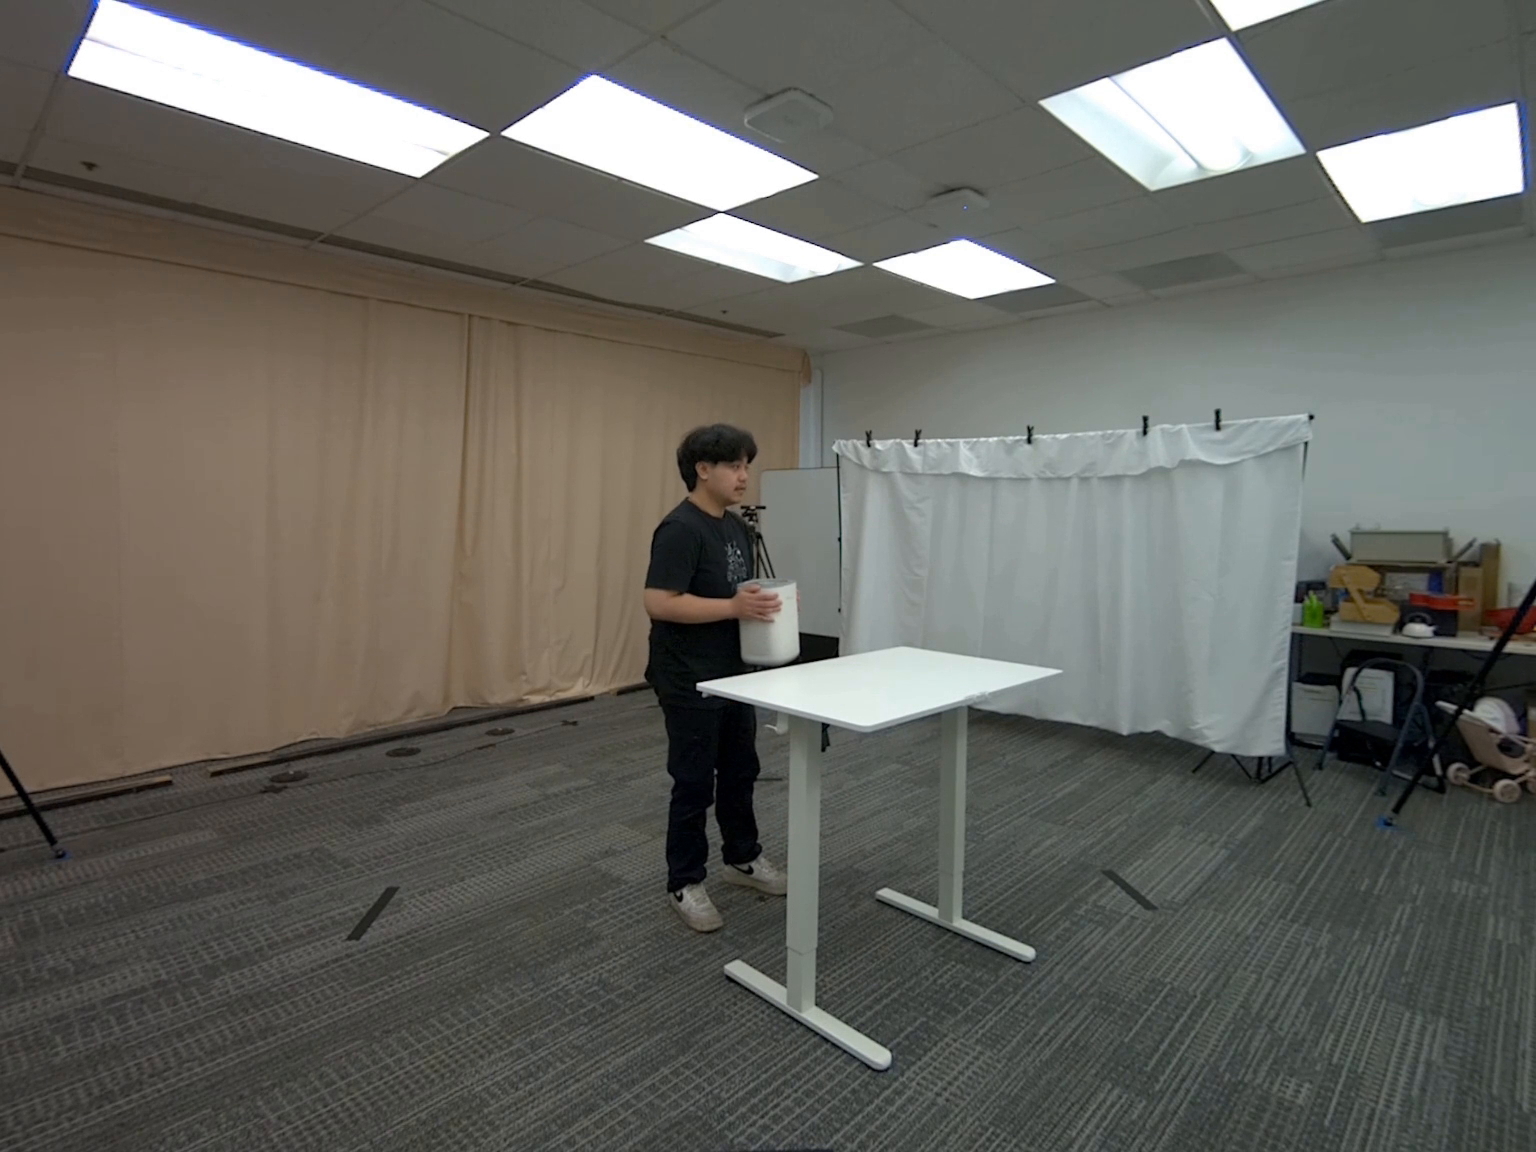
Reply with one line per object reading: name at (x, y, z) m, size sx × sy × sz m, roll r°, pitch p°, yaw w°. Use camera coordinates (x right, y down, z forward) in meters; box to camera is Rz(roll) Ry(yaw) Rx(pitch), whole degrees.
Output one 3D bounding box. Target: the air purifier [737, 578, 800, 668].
air purifier at (0.004, 0.153, 2.787) m, size 0.176 × 0.264 × 0.167 m, roll 2°, pitch 8°, yaw 29°
